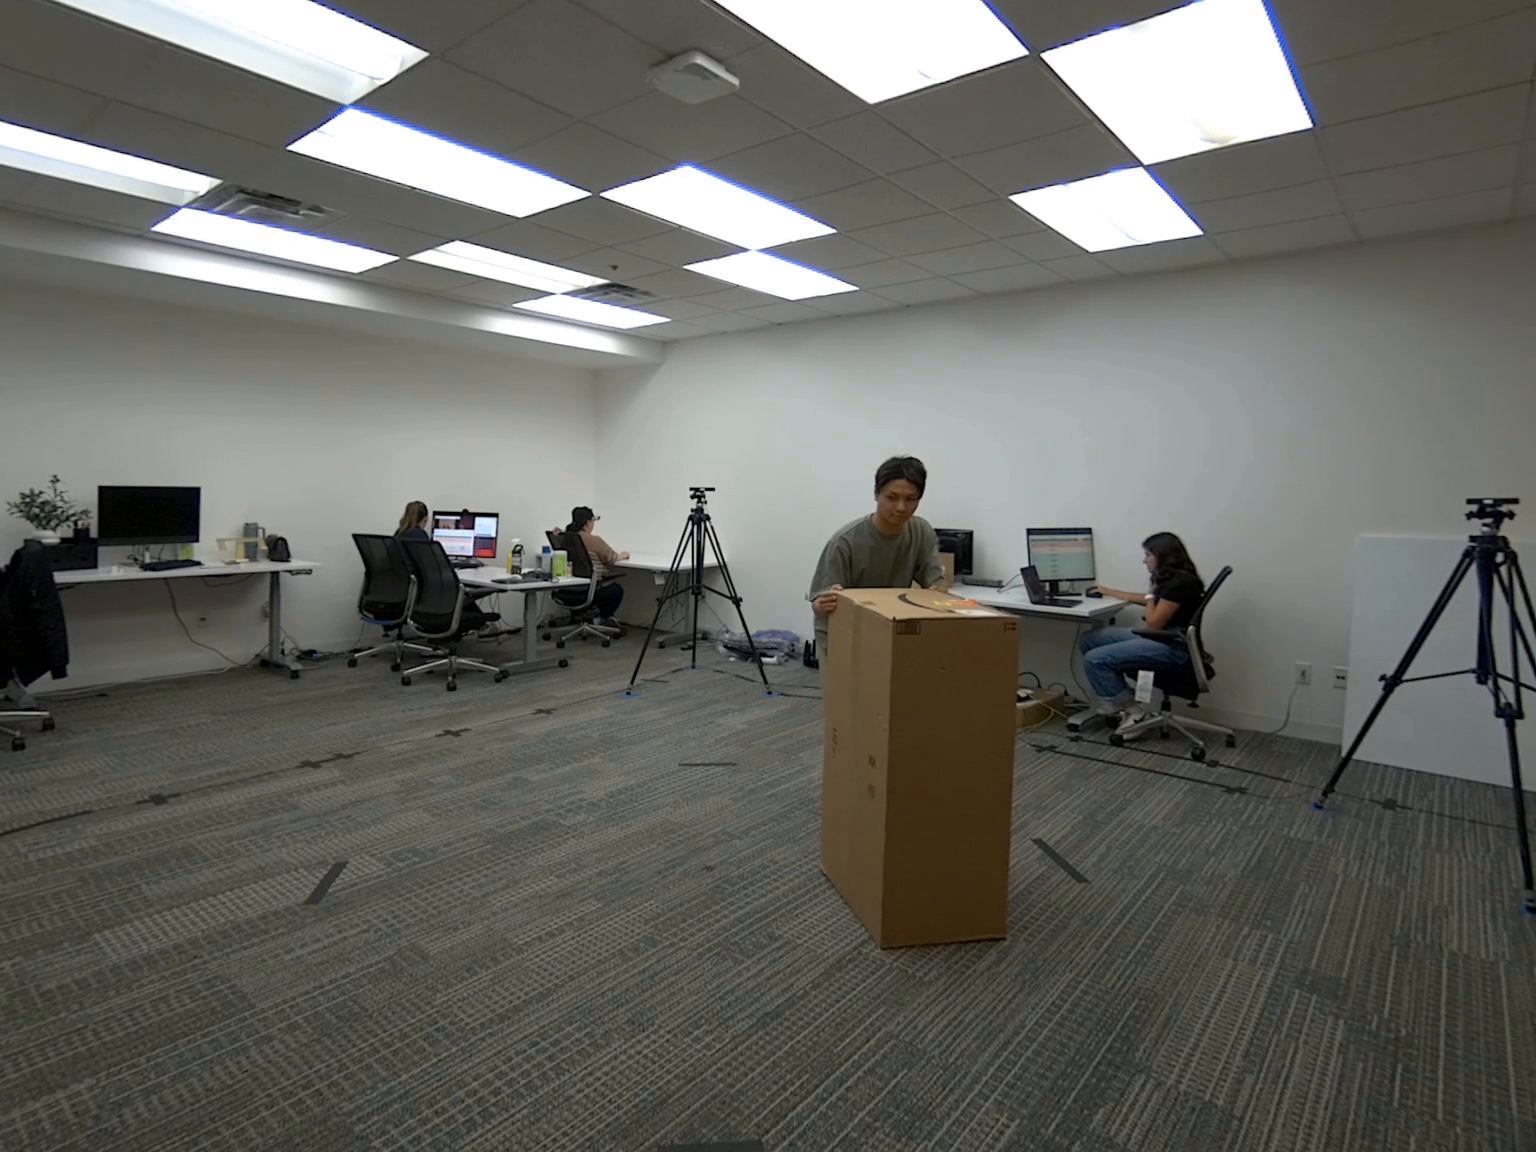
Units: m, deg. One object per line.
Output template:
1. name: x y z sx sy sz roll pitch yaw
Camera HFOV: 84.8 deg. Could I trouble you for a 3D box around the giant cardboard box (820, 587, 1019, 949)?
1. giant cardboard box: 0.478 0.593 2.864 0.420 1.021 0.589 0 5 -15
